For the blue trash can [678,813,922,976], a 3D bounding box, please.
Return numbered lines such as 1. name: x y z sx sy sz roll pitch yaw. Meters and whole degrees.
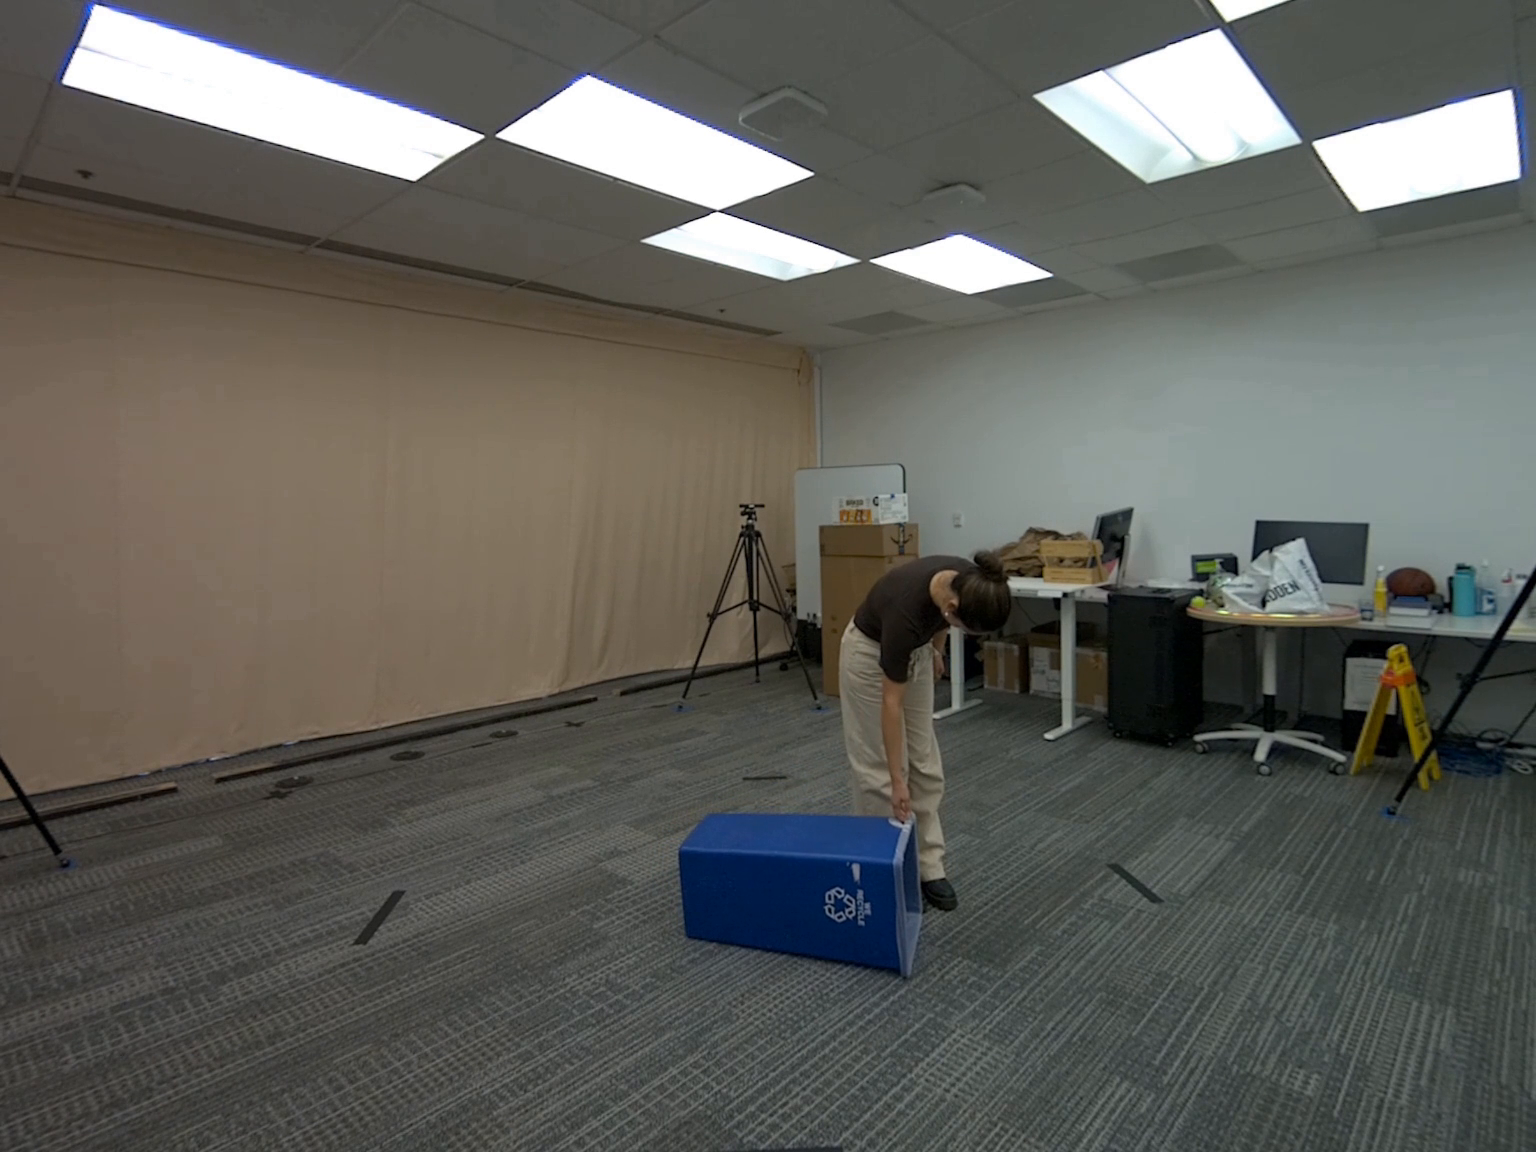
1. blue trash can: 0.105 0.988 2.723 0.728 0.373 0.371 -3 5 20
